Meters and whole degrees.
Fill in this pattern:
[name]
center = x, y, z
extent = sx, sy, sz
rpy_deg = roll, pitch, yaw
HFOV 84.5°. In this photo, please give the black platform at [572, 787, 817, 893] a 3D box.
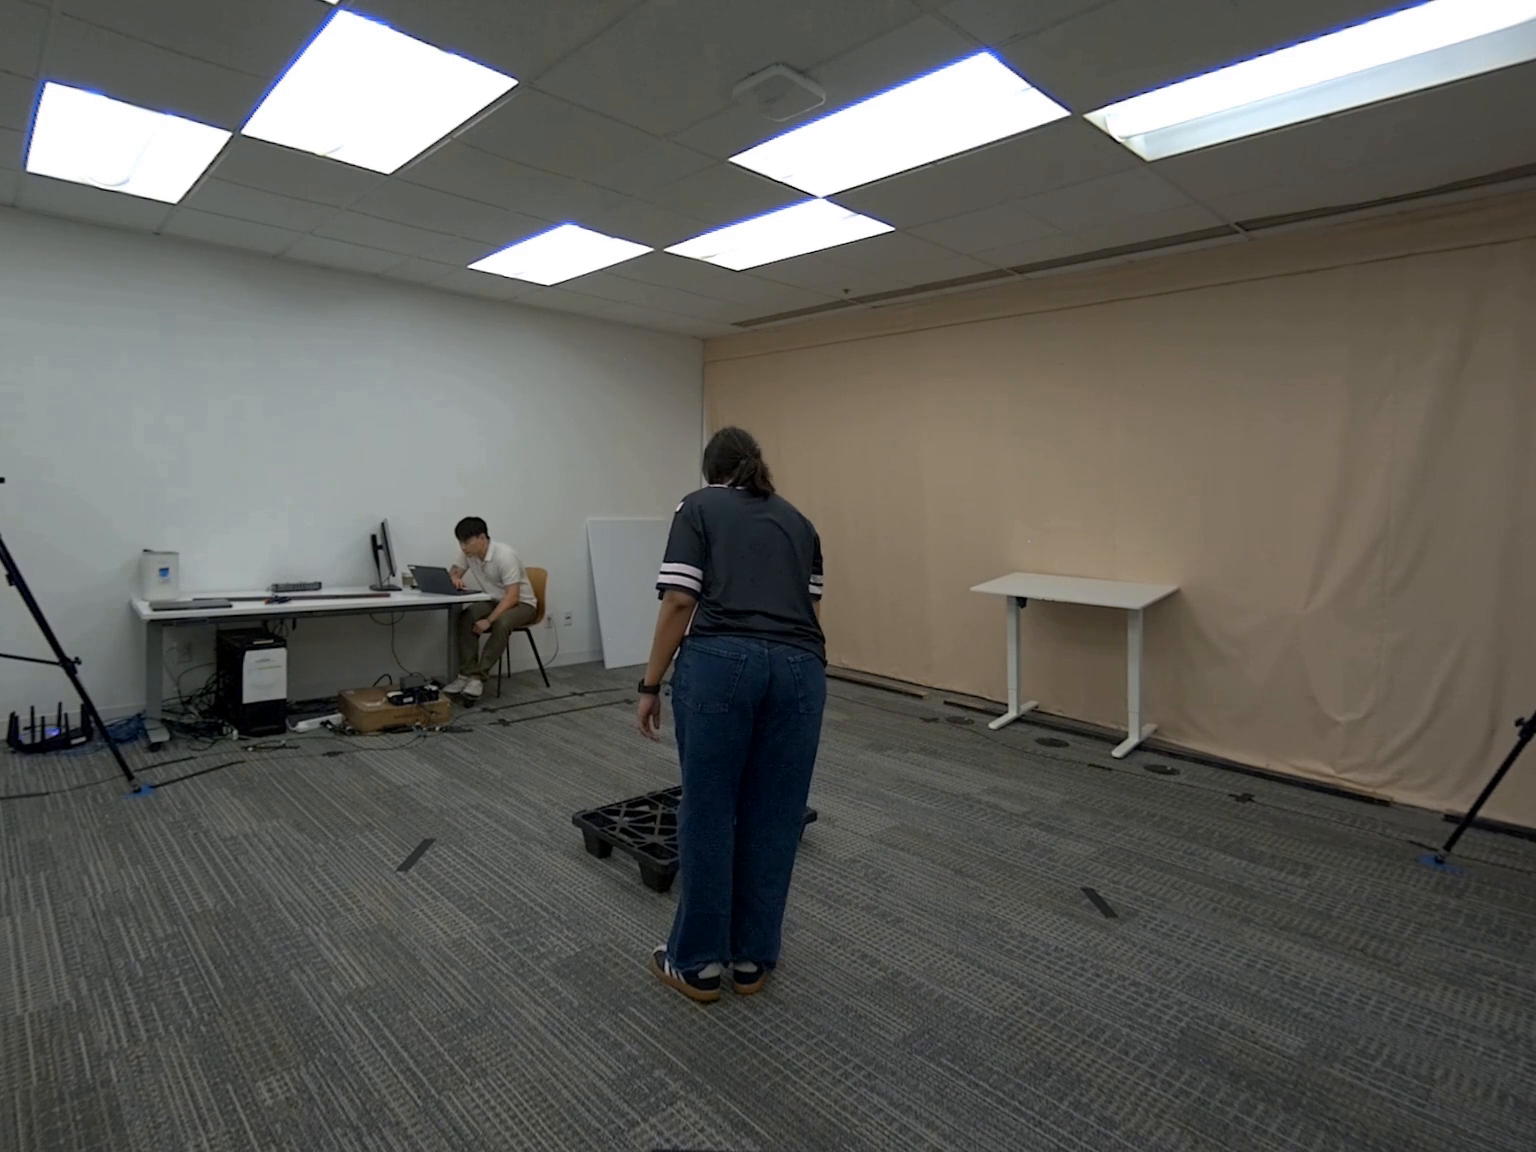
[black platform]
center = -0.294, 1.012, 3.358
extent = 0.787, 0.143, 0.620
rpy_deg = -3, 6, -44
